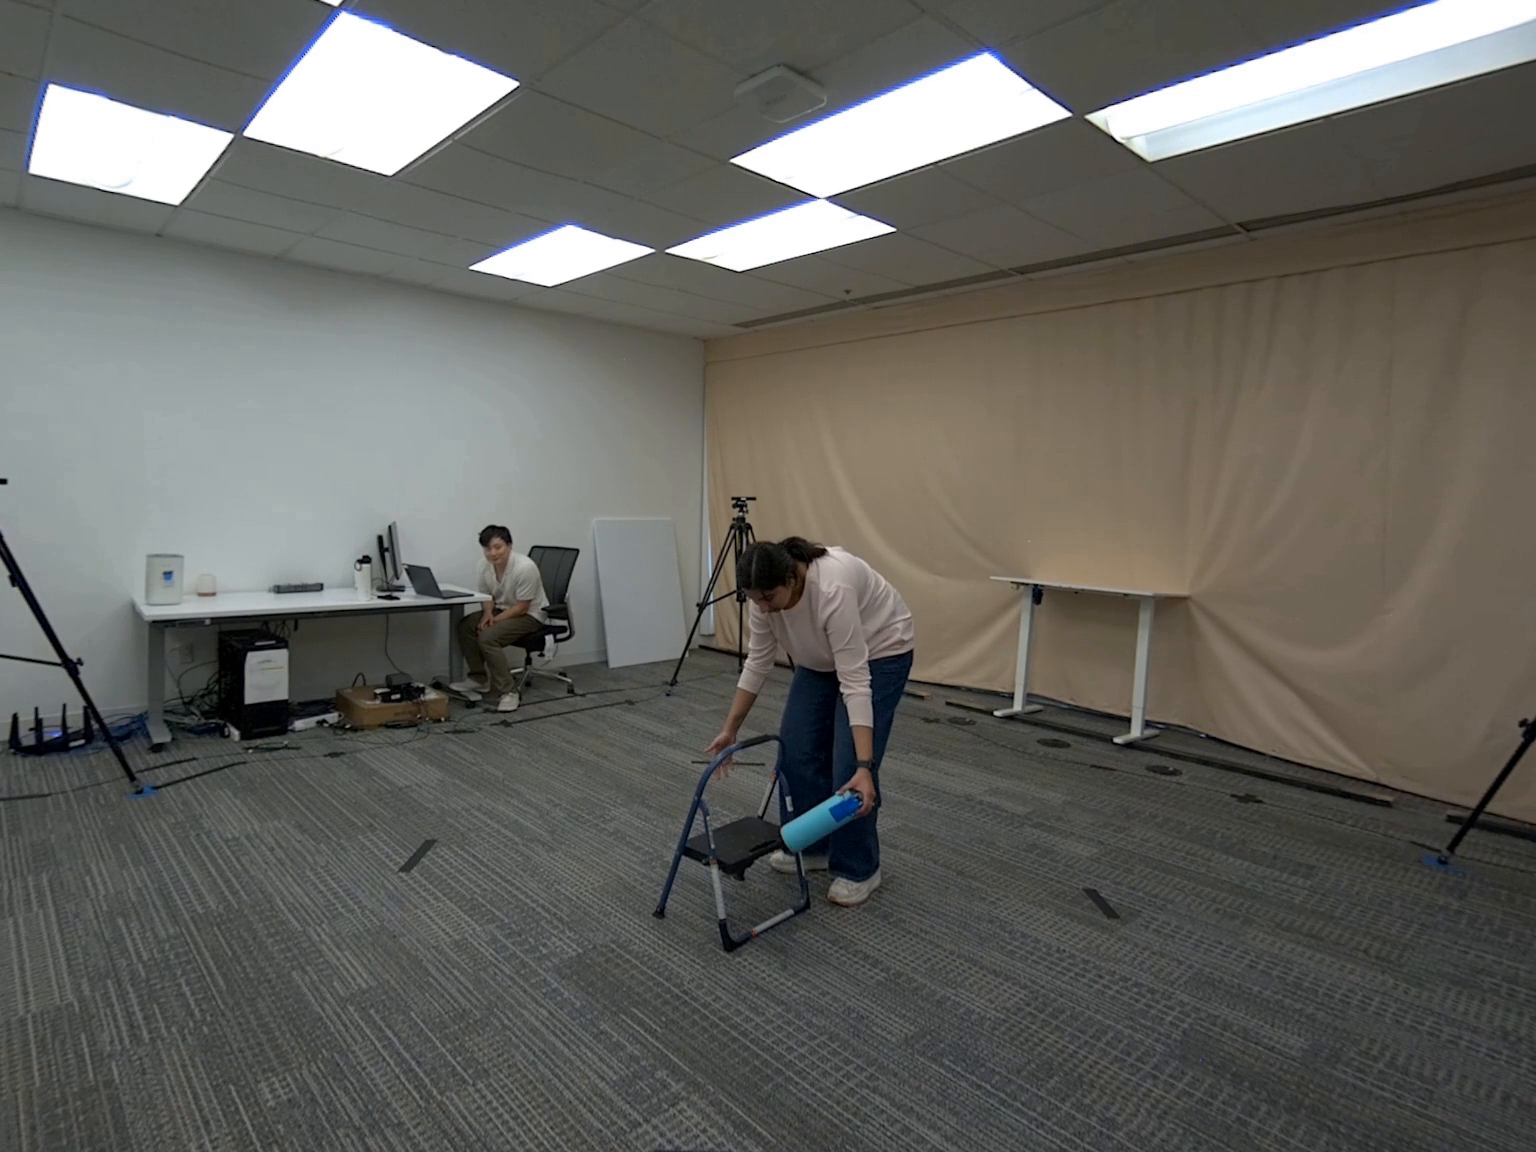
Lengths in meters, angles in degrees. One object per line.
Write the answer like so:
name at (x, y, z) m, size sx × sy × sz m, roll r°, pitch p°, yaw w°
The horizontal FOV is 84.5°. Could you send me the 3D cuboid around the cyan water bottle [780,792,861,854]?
cyan water bottle at (0.166, 0.752, 2.631) m, size 0.284 × 0.093 × 0.092 m, roll -34°, pitch -3°, yaw 12°
